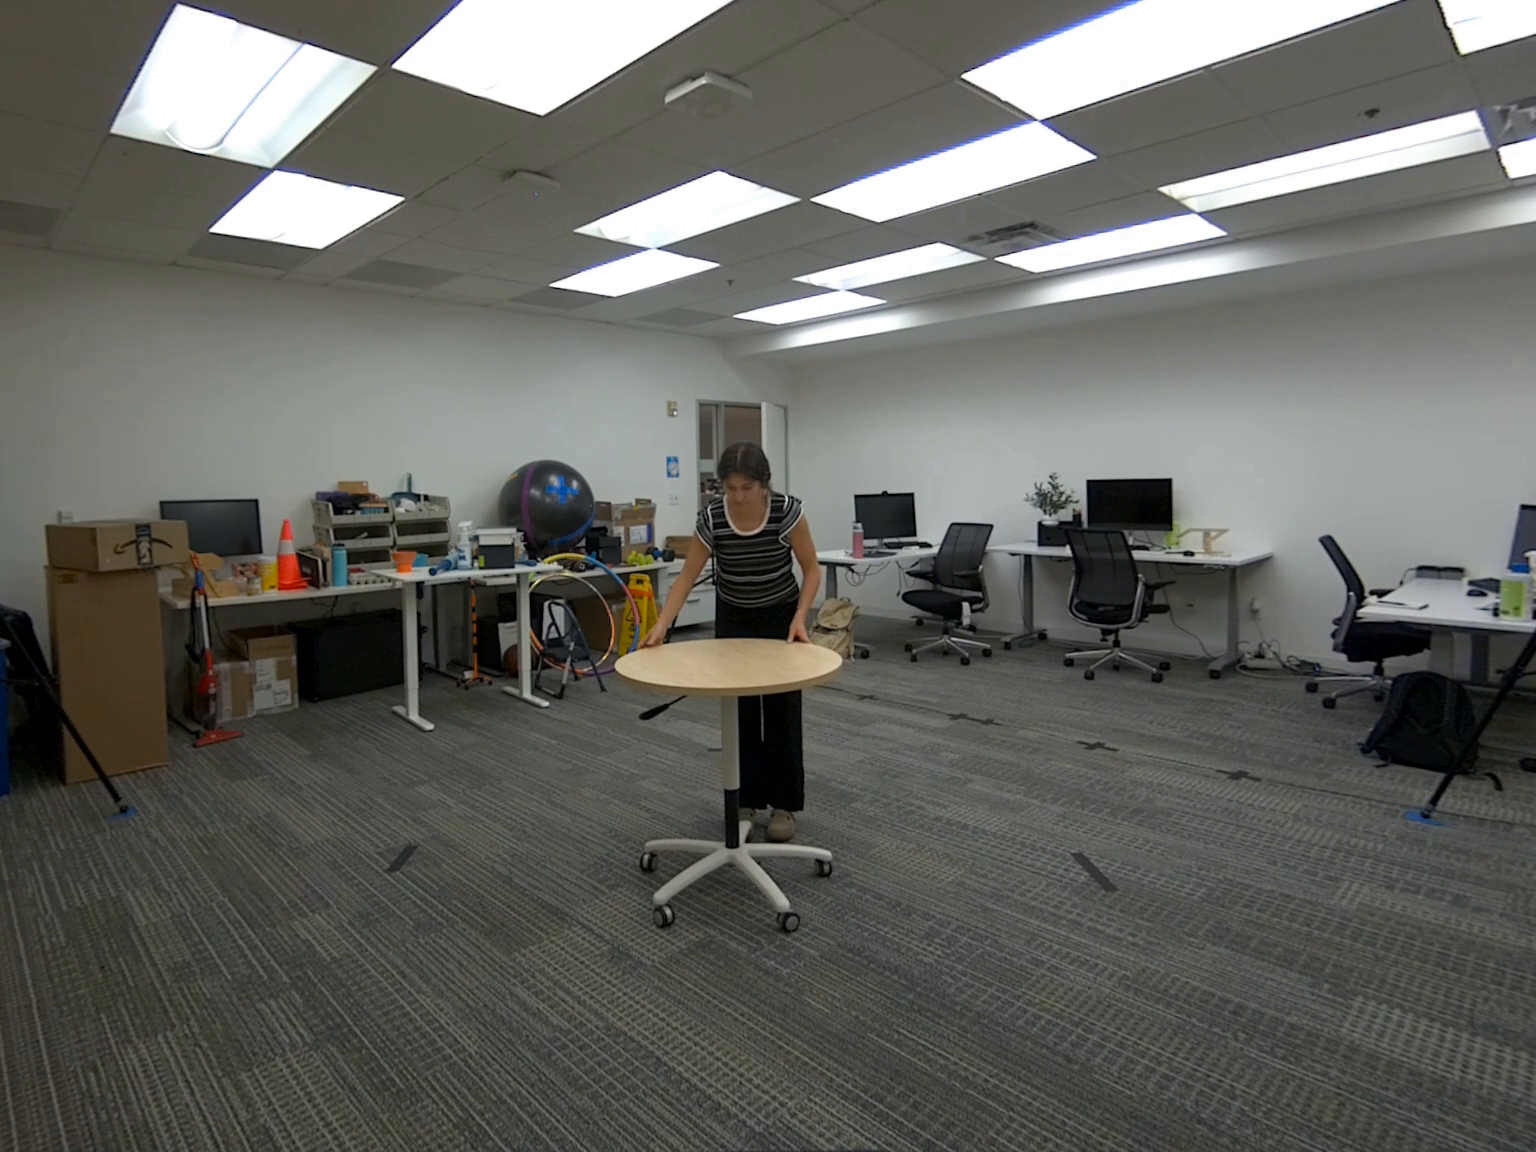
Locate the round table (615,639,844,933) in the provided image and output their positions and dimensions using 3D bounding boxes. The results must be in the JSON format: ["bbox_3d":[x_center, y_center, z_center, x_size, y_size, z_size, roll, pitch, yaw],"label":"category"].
[{"bbox_3d":[-0.123,0.676,2.919,0.784,0.783,0.789,-1,5,-2],"label":"round table"}]
